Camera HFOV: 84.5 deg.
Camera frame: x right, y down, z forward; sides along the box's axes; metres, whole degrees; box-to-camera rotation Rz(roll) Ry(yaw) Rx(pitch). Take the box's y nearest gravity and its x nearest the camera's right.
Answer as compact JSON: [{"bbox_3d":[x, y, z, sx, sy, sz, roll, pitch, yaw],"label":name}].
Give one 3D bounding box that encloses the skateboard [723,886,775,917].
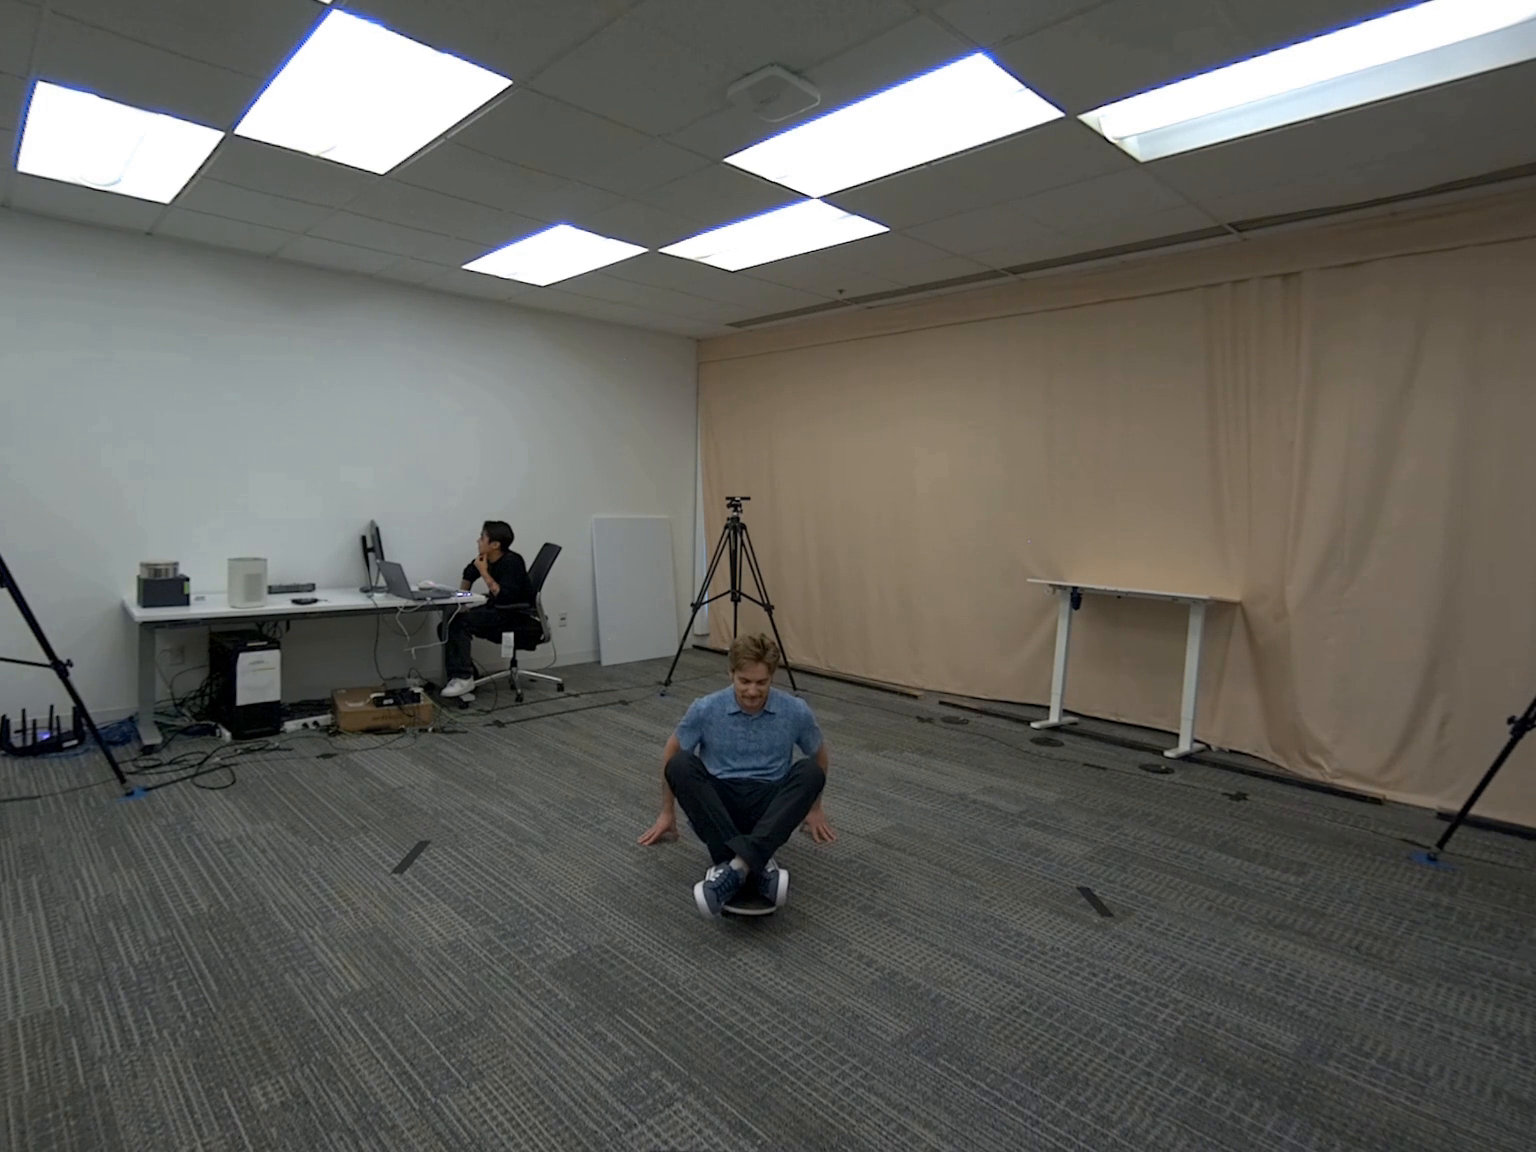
[{"bbox_3d":[-0.081,1.070,3.000,0.193,0.110,0.787,3,3,-2],"label":"skateboard"}]
